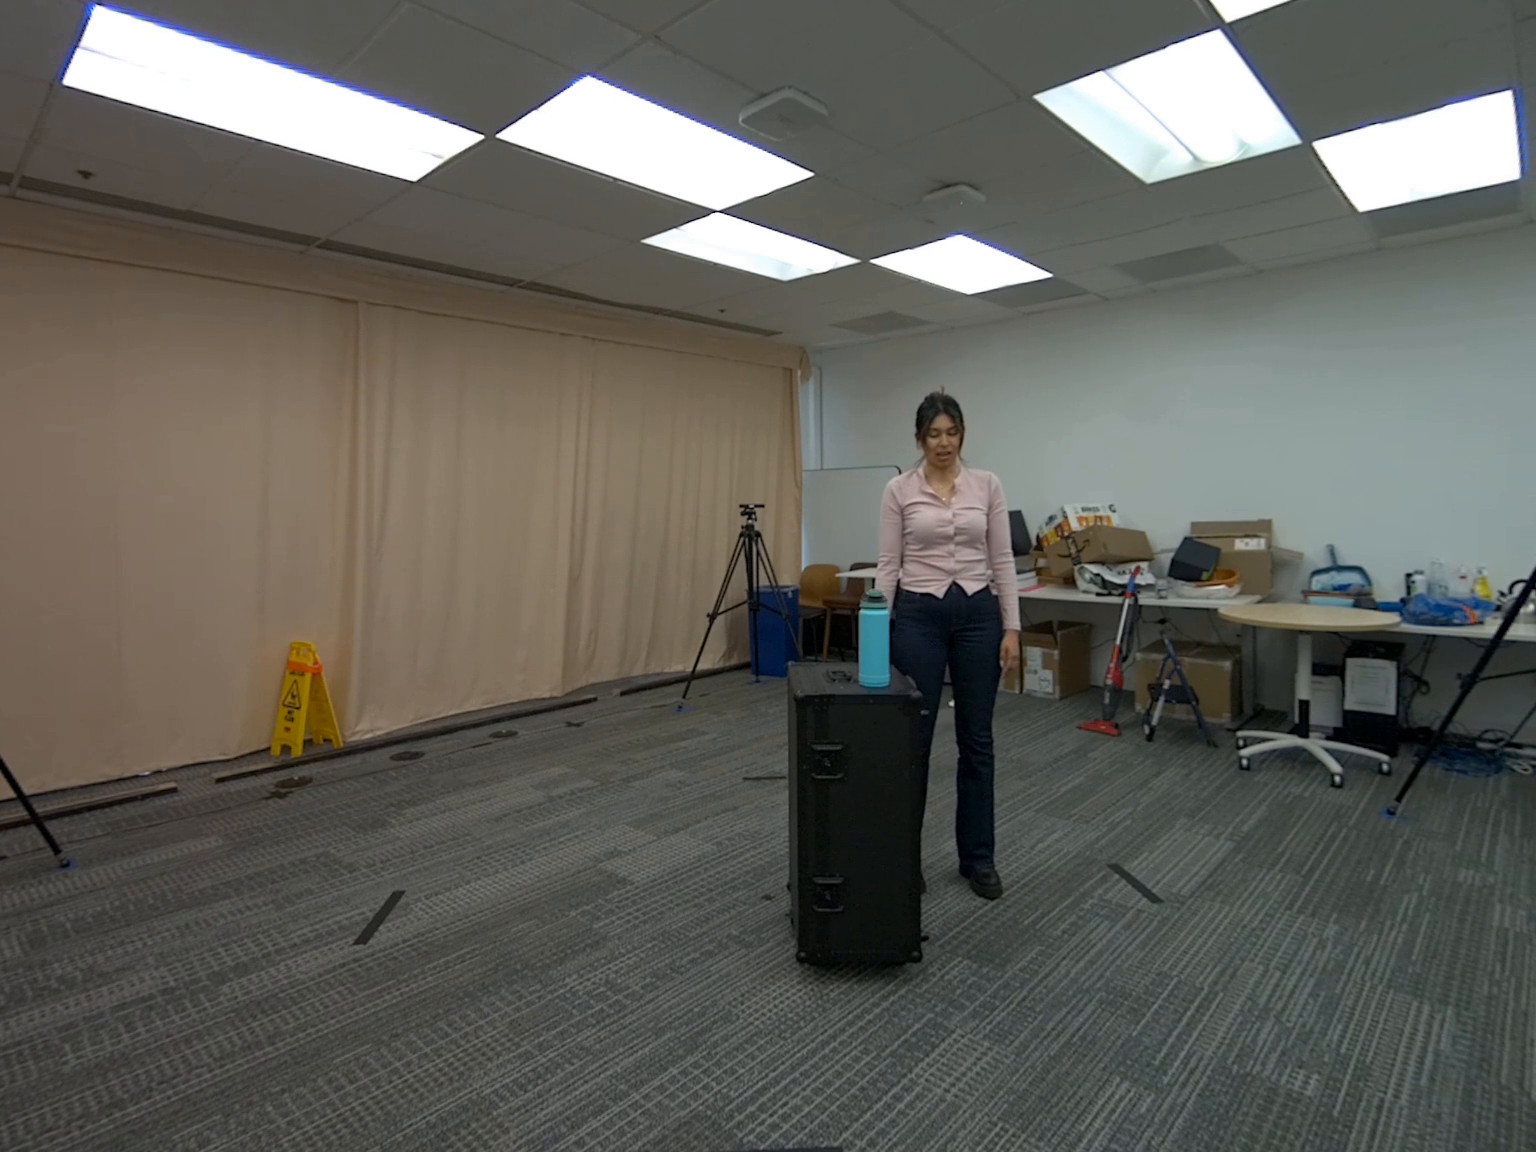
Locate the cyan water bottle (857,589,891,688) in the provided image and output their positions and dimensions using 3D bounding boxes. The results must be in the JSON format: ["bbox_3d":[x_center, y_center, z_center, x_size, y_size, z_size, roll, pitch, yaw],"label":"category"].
[{"bbox_3d":[0.319,0.185,2.507,0.092,0.283,0.092,-5,1,-2],"label":"cyan water bottle"}]
